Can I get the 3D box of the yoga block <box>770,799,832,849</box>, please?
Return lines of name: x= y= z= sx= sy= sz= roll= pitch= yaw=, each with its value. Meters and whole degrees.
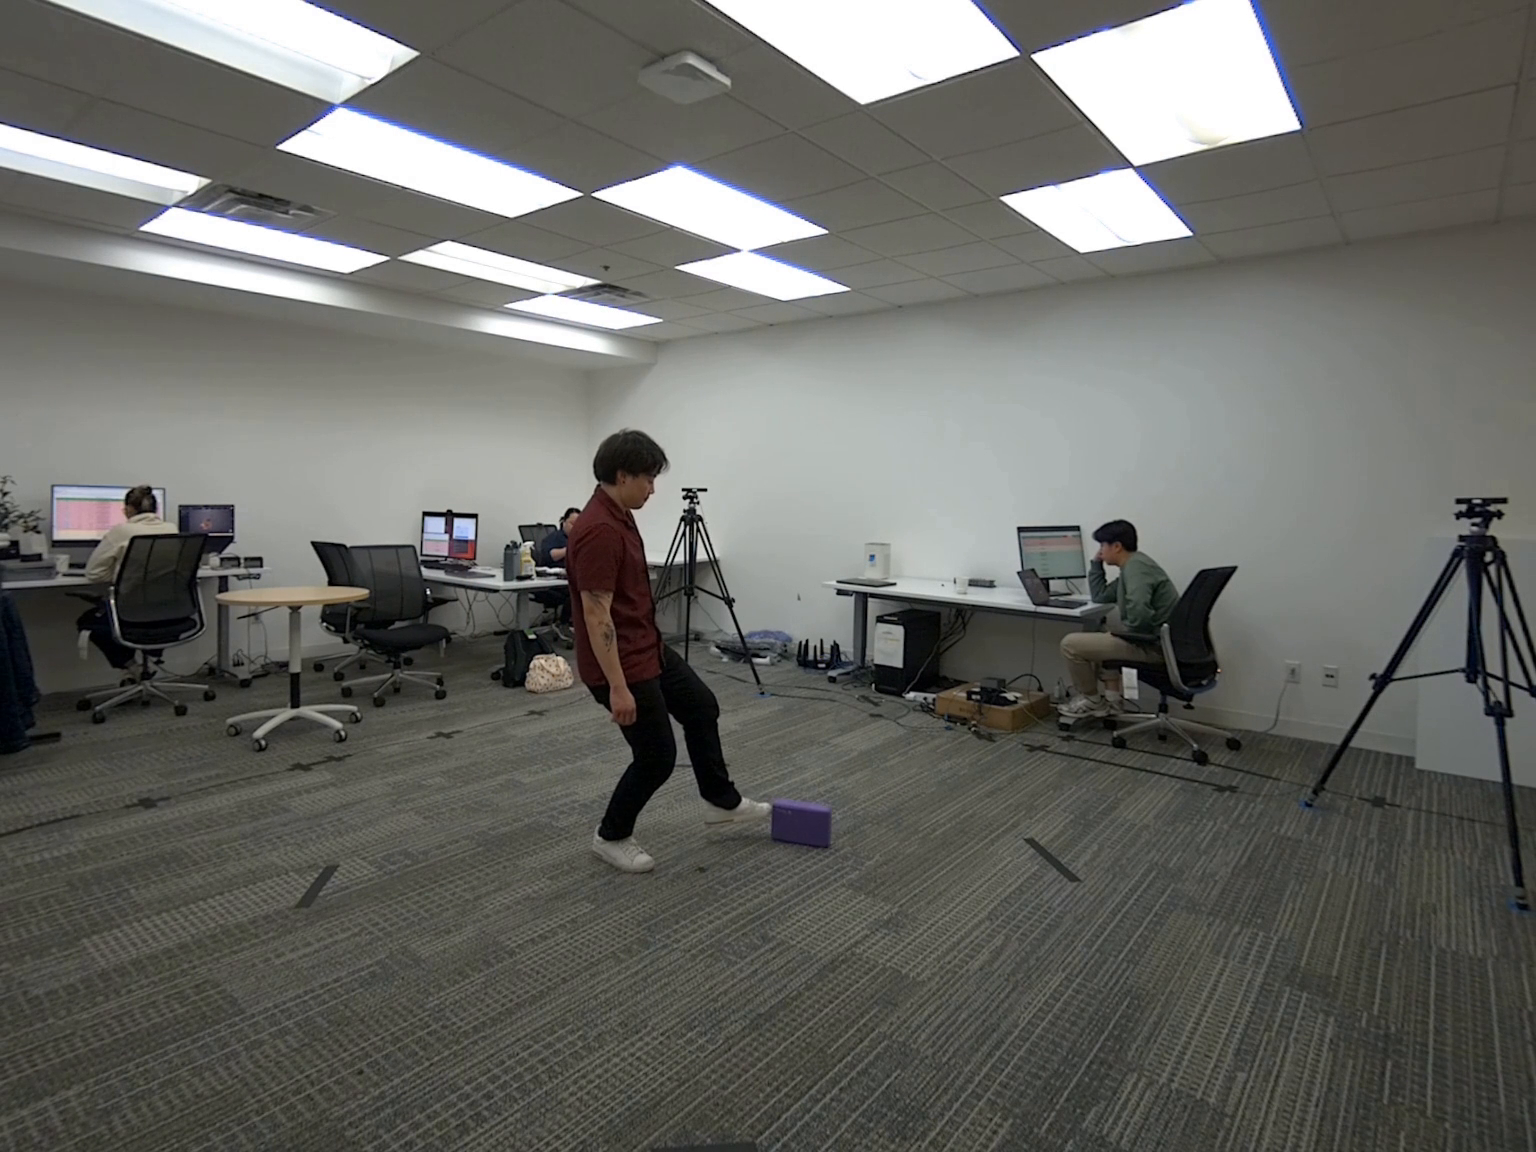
yoga block: x=0.125 y=0.977 z=3.371 sx=0.233 sy=0.148 sz=0.075 roll=2 pitch=4 yaw=16
